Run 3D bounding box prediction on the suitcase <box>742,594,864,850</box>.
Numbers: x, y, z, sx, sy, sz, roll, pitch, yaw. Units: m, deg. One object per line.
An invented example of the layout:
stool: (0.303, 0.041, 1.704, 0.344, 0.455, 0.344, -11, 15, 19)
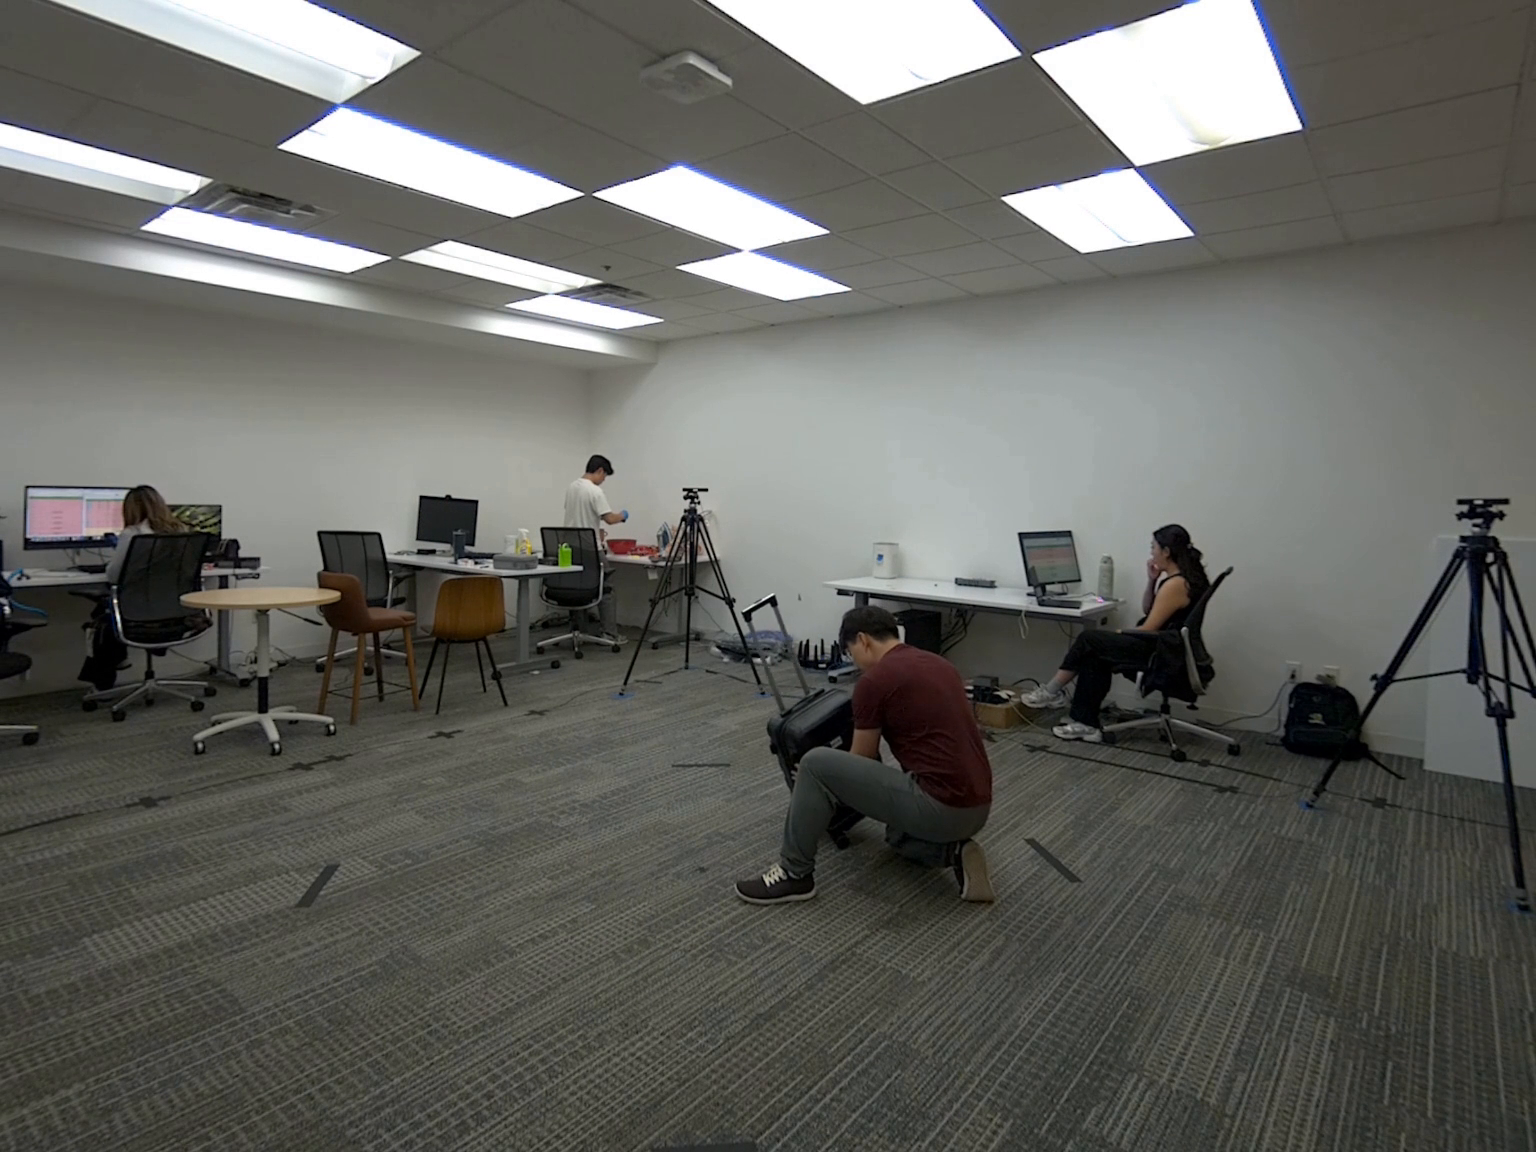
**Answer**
suitcase: (0.177, 0.555, 3.371, 0.379, 0.962, 0.264, -26, 15, -24)
